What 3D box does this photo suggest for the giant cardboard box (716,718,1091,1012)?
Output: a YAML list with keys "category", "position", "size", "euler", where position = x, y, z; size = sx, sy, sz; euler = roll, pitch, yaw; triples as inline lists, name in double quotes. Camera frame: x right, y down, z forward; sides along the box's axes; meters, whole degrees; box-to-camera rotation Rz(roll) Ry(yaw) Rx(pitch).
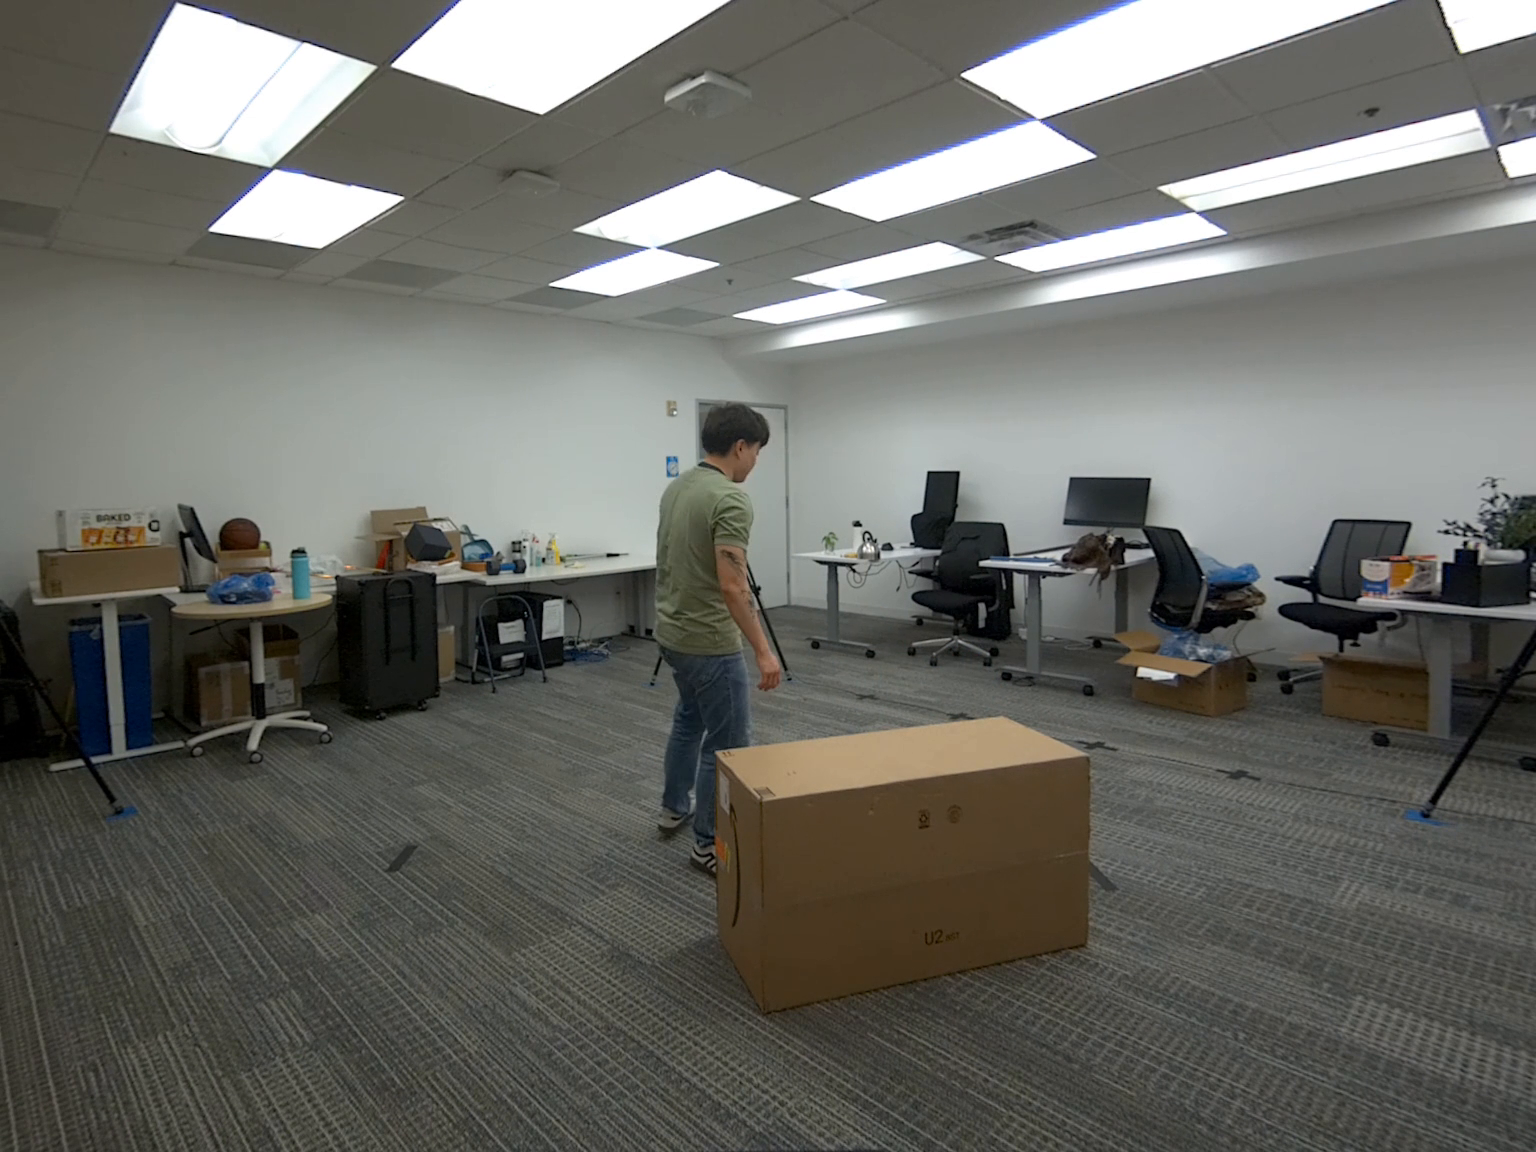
- category: "giant cardboard box"
  position: [0.396, 0.810, 2.555]
  size: [1.010, 0.575, 0.434]
  euler: [-3, 5, -17]
